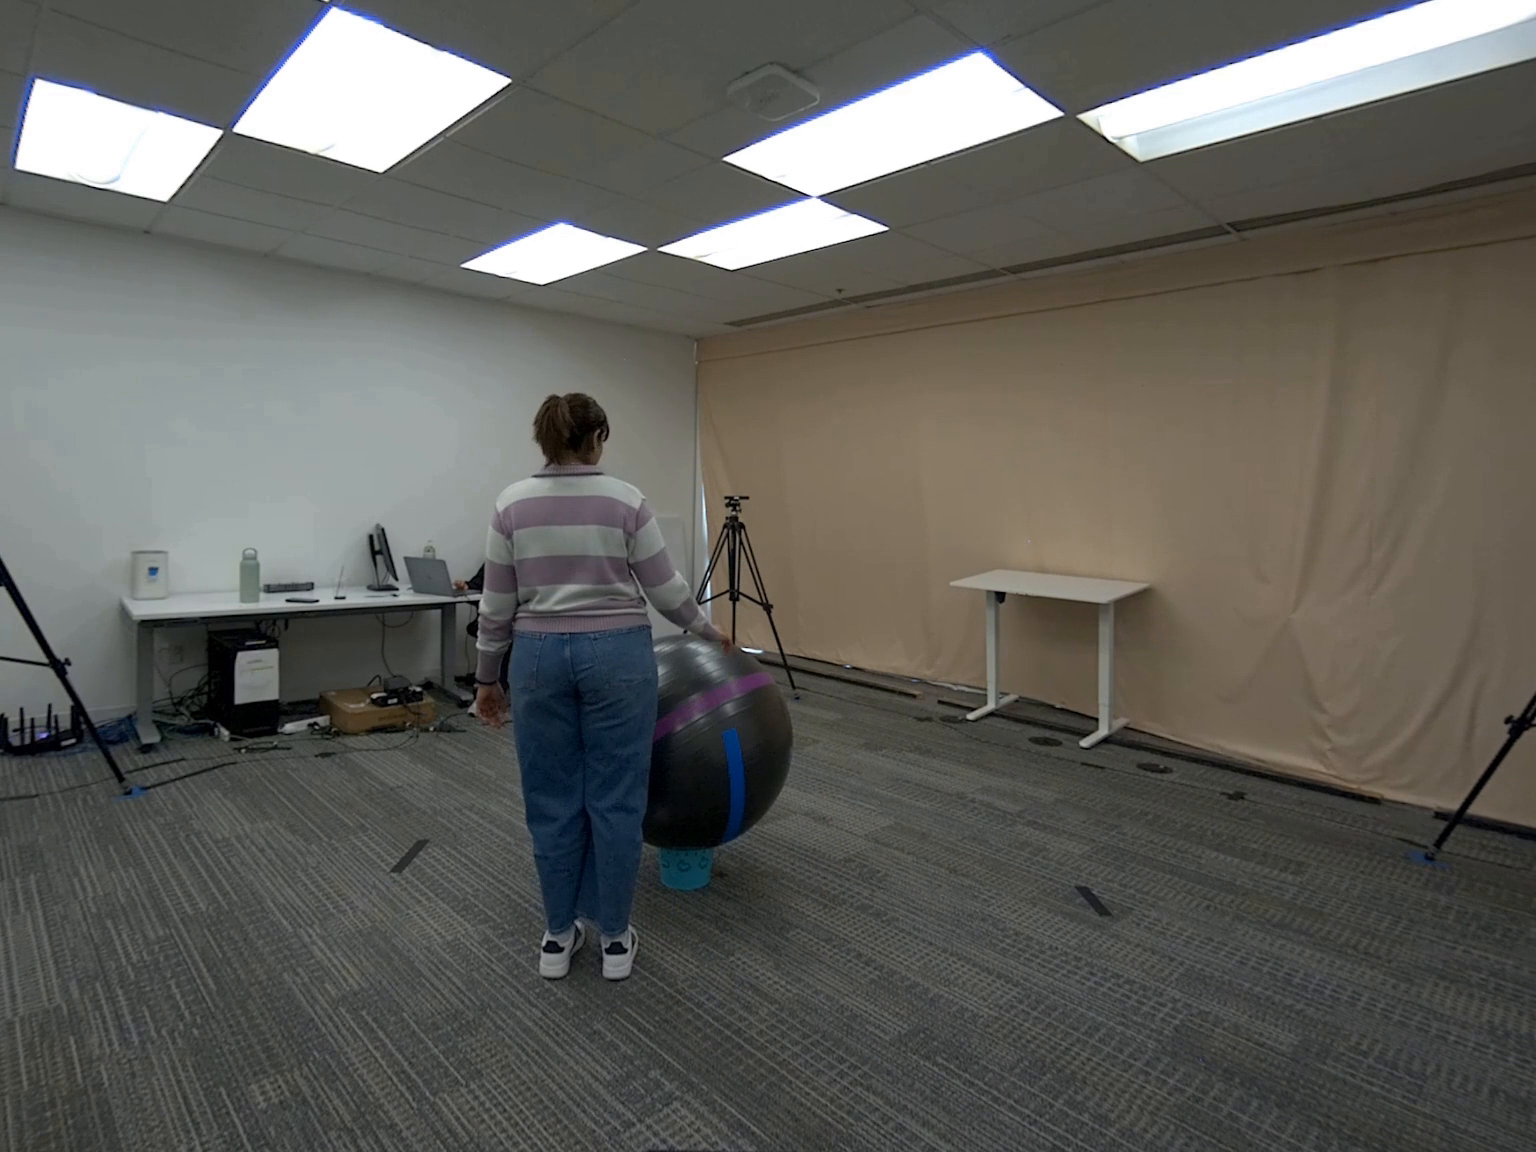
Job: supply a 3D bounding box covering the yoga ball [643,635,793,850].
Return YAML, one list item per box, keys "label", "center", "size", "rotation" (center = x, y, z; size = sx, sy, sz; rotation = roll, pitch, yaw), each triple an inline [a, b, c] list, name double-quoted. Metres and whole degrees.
- label: "yoga ball"
  center: [-0.291, 0.595, 3.046]
  size: [0.757, 0.756, 0.761]
  rotation: [1, 4, -1]
